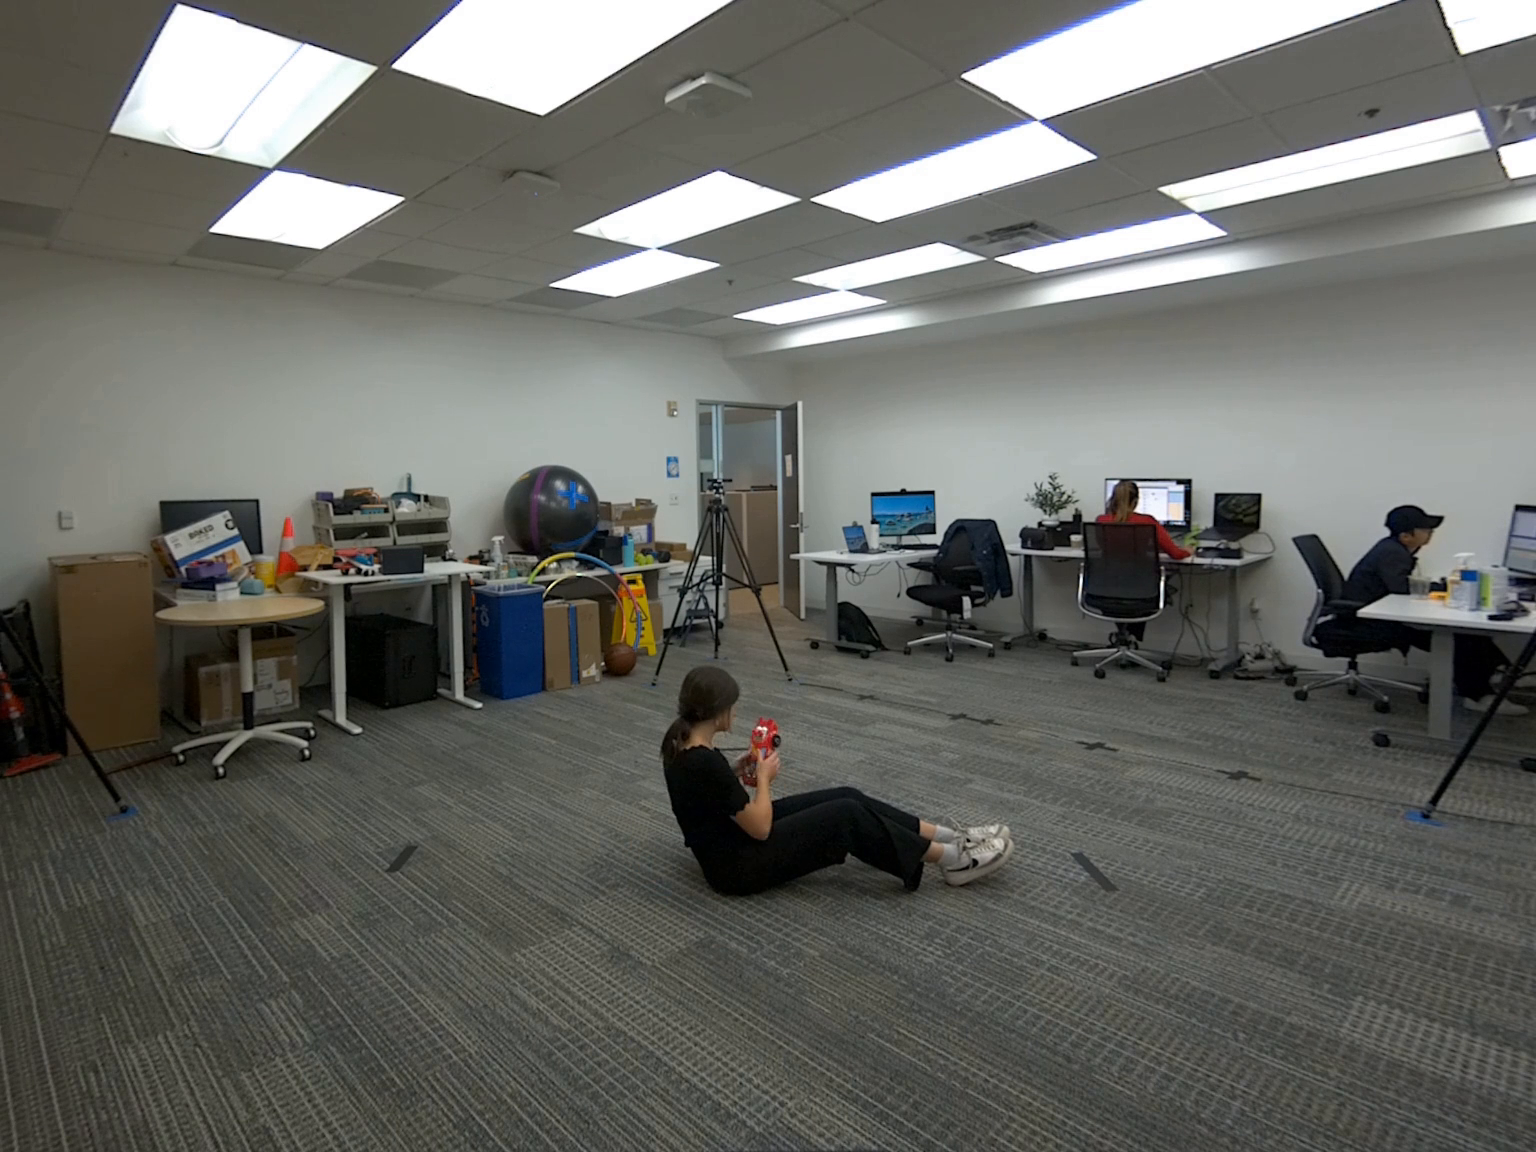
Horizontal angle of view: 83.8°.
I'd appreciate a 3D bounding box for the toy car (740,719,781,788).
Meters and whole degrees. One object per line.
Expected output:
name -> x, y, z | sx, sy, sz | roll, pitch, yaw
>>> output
toy car -> -0.025, 0.662, 3.168 | 0.080, 0.257, 0.133 | 19, -18, -40
